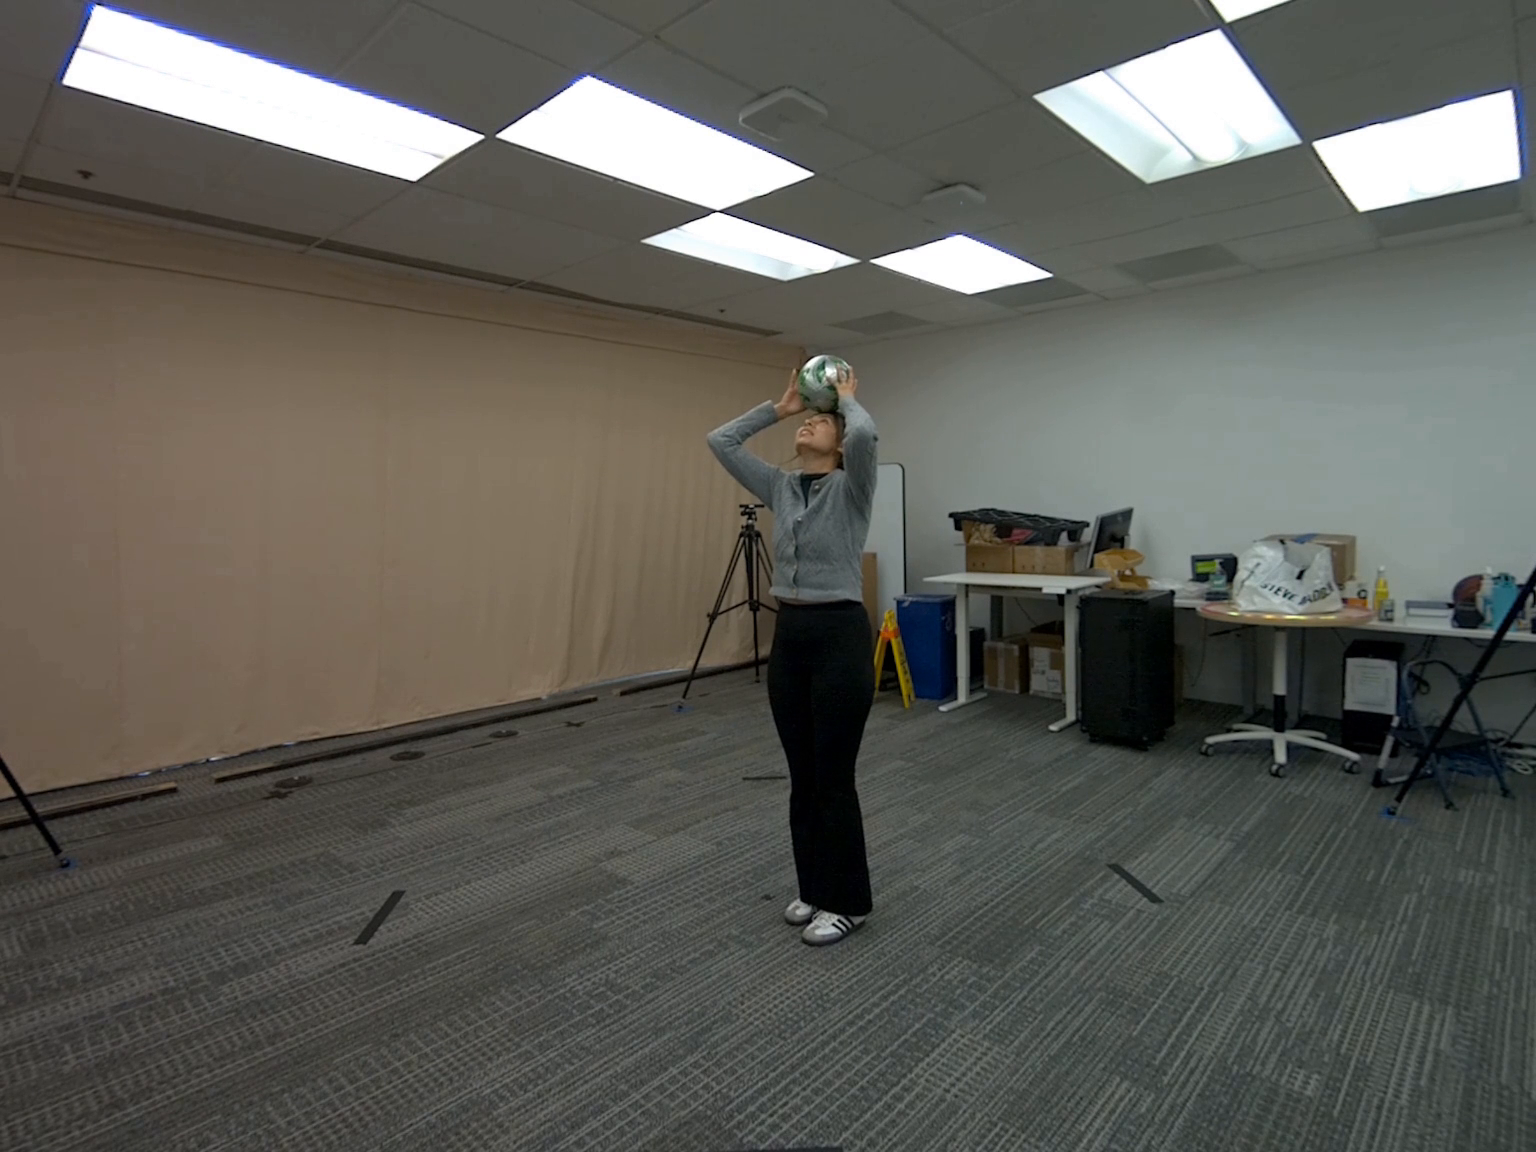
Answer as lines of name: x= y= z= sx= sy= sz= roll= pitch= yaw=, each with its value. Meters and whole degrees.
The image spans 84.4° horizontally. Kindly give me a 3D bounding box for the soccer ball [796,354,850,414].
soccer ball: x=0.195 y=-0.632 z=2.780 sx=0.187 sy=0.187 sz=0.188 roll=-1 pitch=4 yaw=-2
